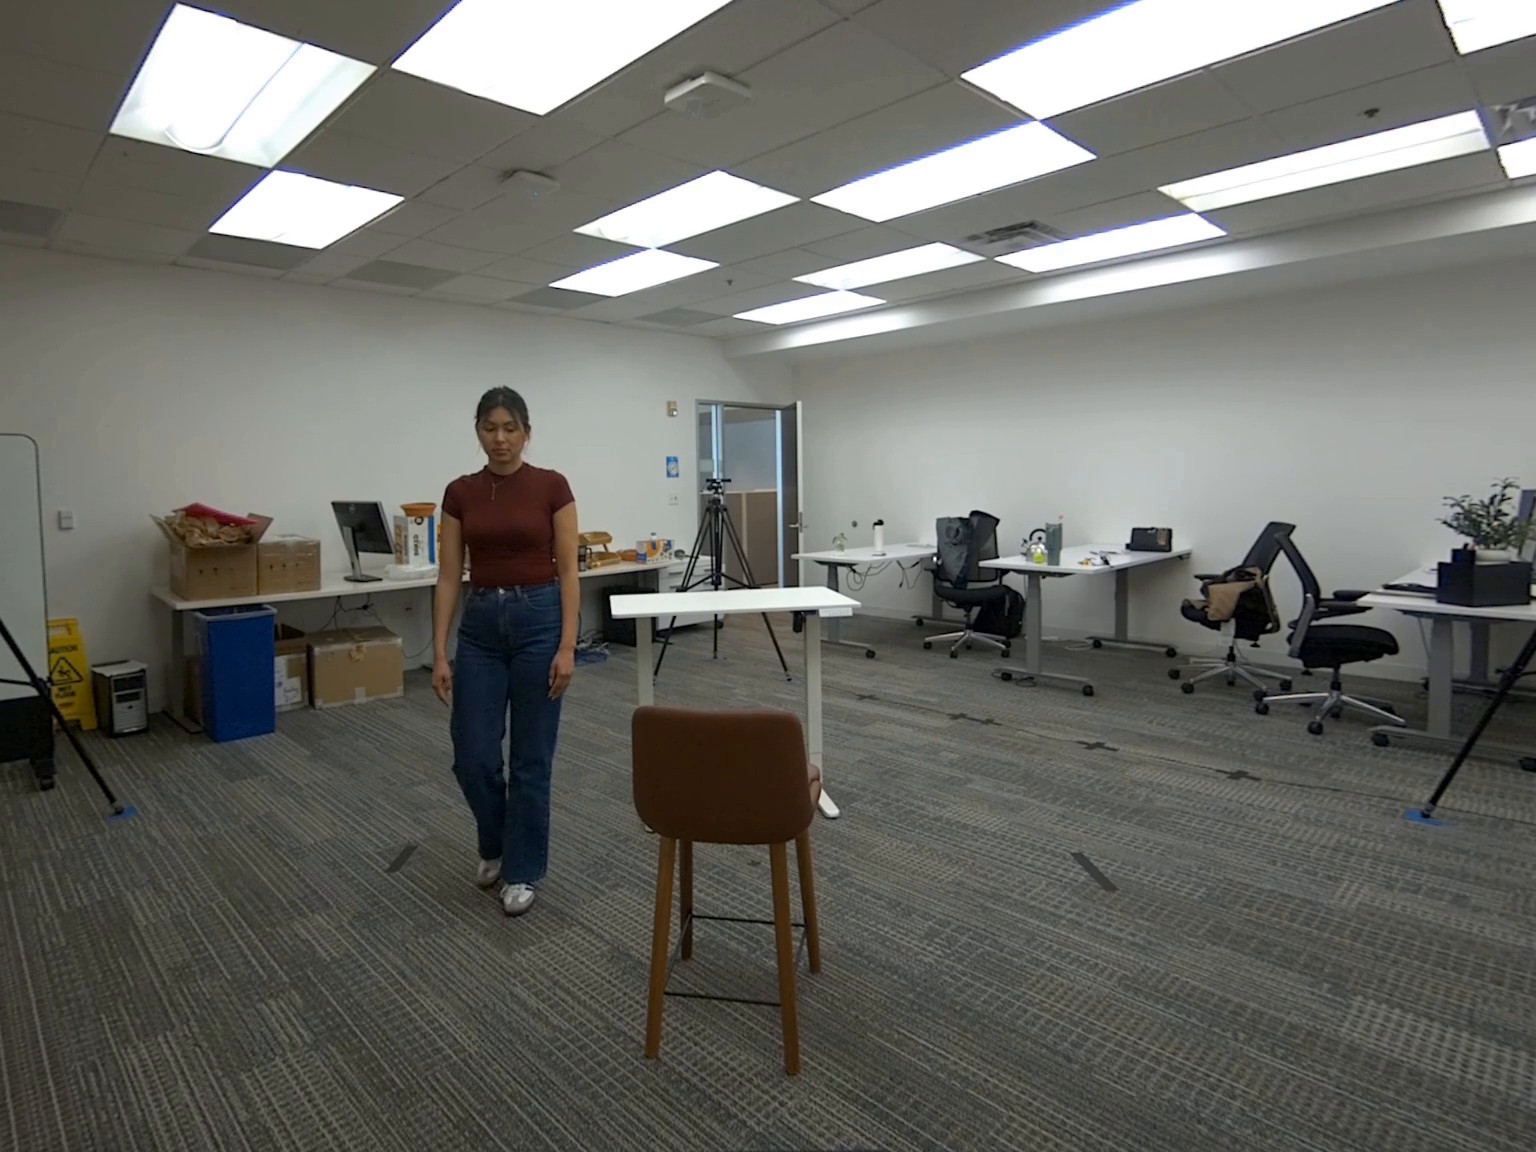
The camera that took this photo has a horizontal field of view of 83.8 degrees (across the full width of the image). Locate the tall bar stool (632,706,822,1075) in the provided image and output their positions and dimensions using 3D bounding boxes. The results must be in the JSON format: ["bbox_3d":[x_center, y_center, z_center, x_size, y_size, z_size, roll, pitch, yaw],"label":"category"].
[{"bbox_3d":[-0.089,0.721,2.225,0.462,0.886,0.464,0,5,11],"label":"tall bar stool"}]
